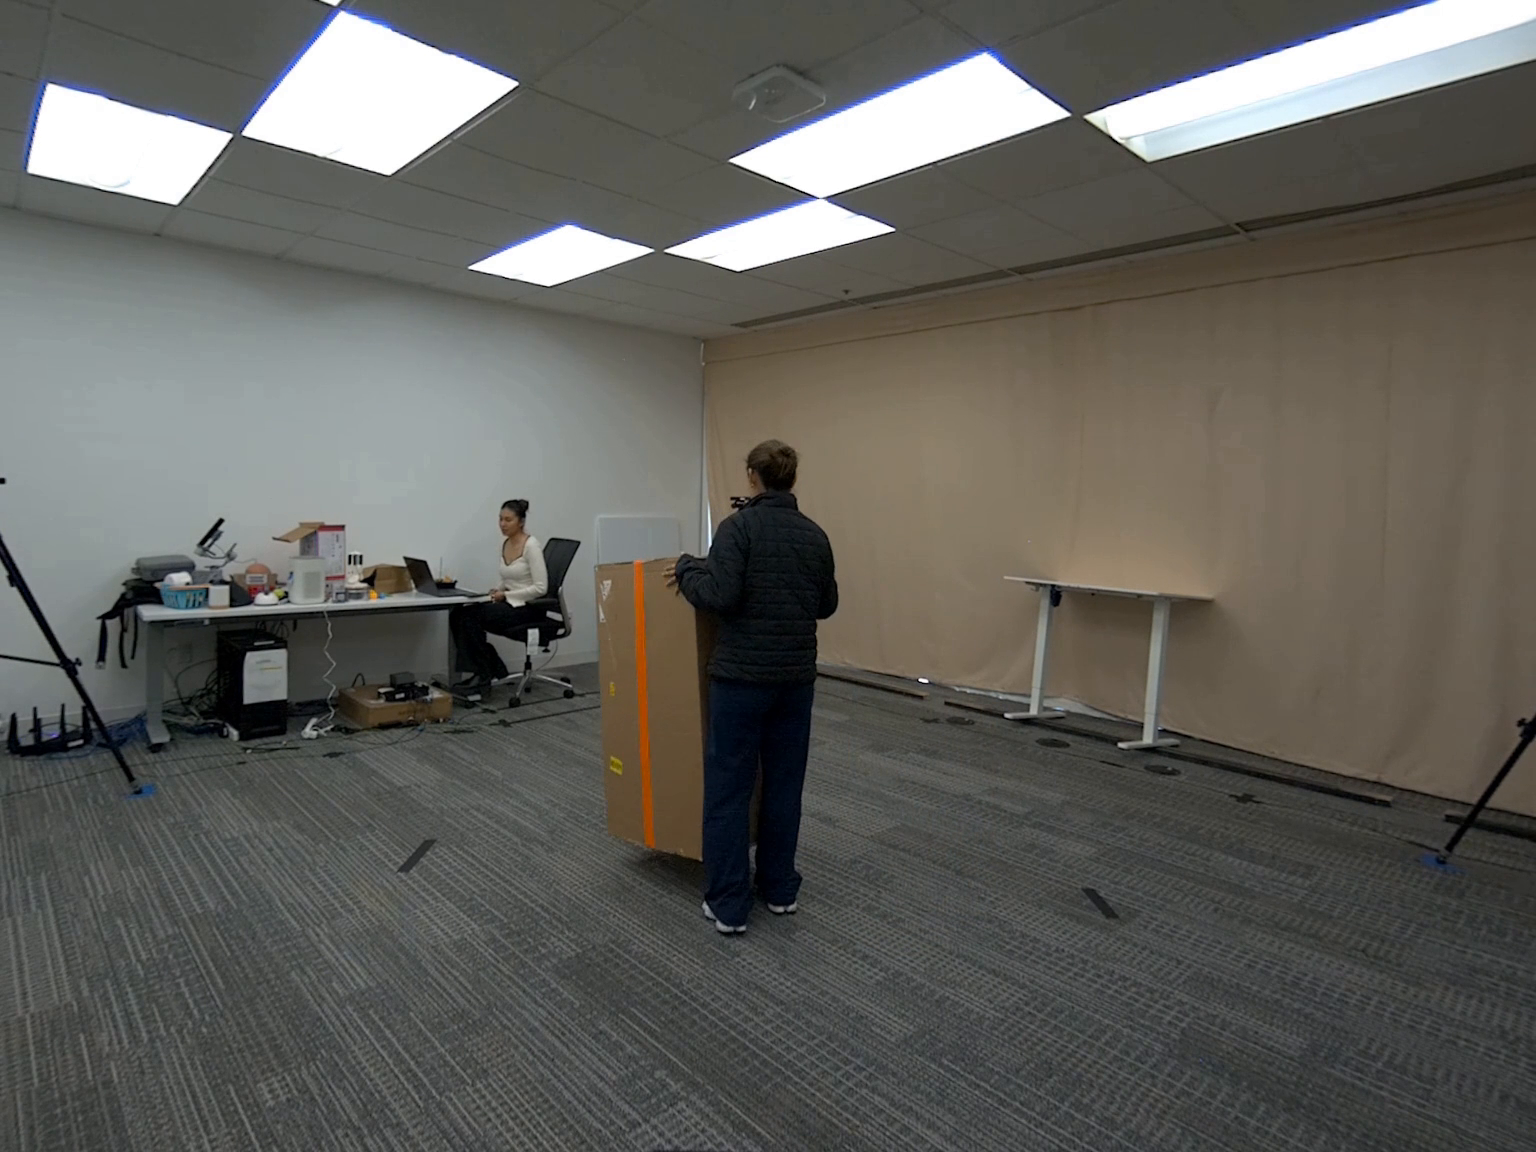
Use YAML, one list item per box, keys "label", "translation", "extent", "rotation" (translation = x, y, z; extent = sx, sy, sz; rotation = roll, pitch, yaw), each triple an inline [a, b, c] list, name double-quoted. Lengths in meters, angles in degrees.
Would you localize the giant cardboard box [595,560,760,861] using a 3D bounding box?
- label: "giant cardboard box"
  translation: [-0.305, 0.450, 3.155]
  extent: [0.416, 1.028, 0.590]
  rotation: [-1, -3, -45]
